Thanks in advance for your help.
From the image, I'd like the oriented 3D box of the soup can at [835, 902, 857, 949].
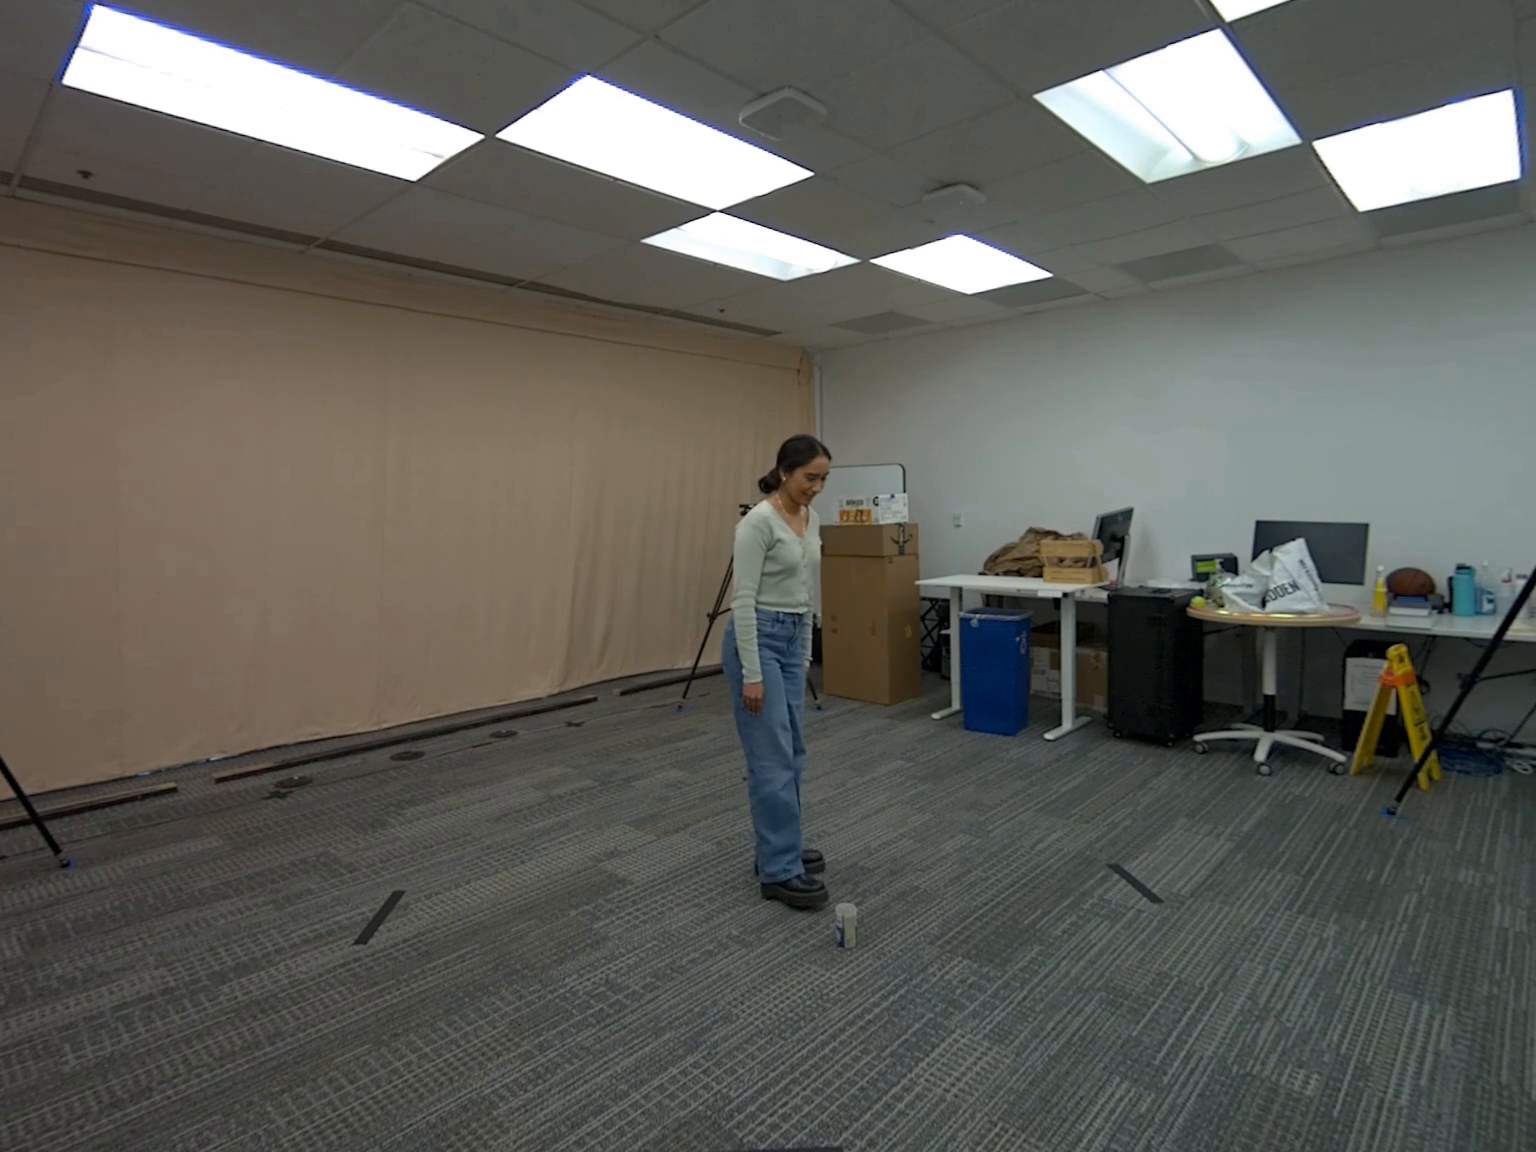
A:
[{"bbox_3d":[0.252,1.107,2.650,0.067,0.121,0.067,-2,3,-2],"label":"soup can"}]
